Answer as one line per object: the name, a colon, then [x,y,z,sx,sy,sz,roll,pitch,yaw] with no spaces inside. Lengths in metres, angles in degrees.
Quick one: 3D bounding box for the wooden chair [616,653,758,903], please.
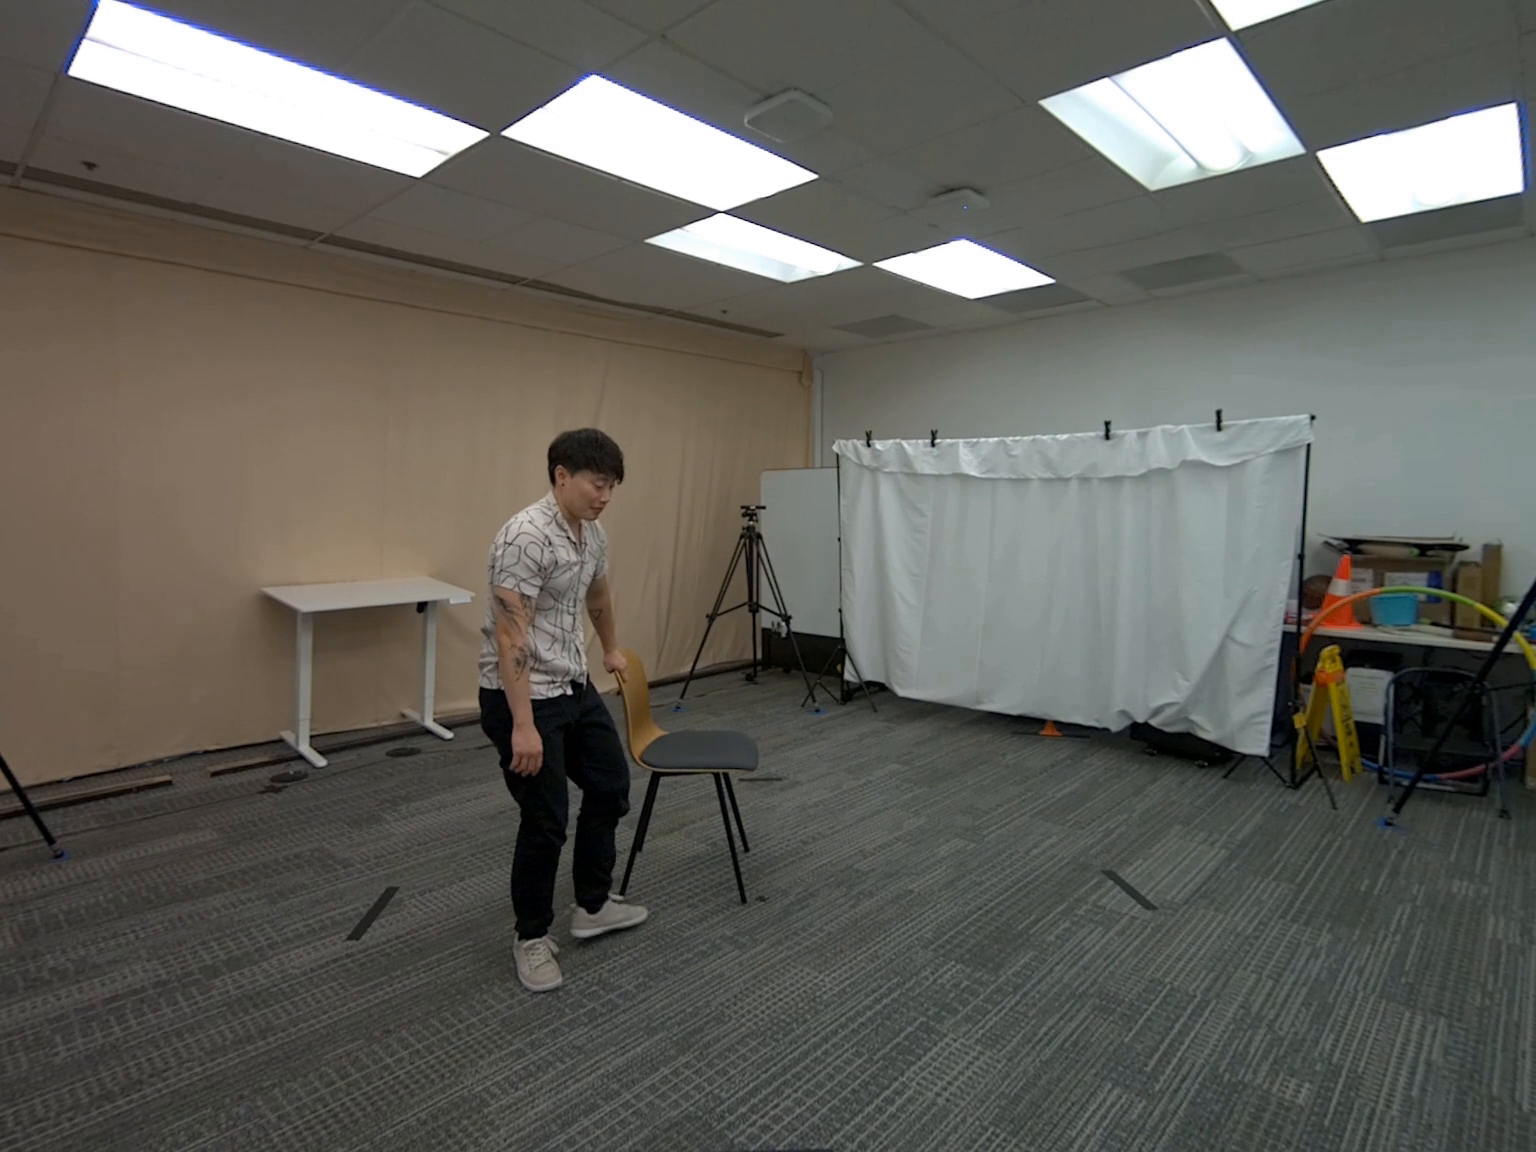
wooden chair: [-0.295,0.705,3.156,0.525,0.876,0.477,-4,2,2]
